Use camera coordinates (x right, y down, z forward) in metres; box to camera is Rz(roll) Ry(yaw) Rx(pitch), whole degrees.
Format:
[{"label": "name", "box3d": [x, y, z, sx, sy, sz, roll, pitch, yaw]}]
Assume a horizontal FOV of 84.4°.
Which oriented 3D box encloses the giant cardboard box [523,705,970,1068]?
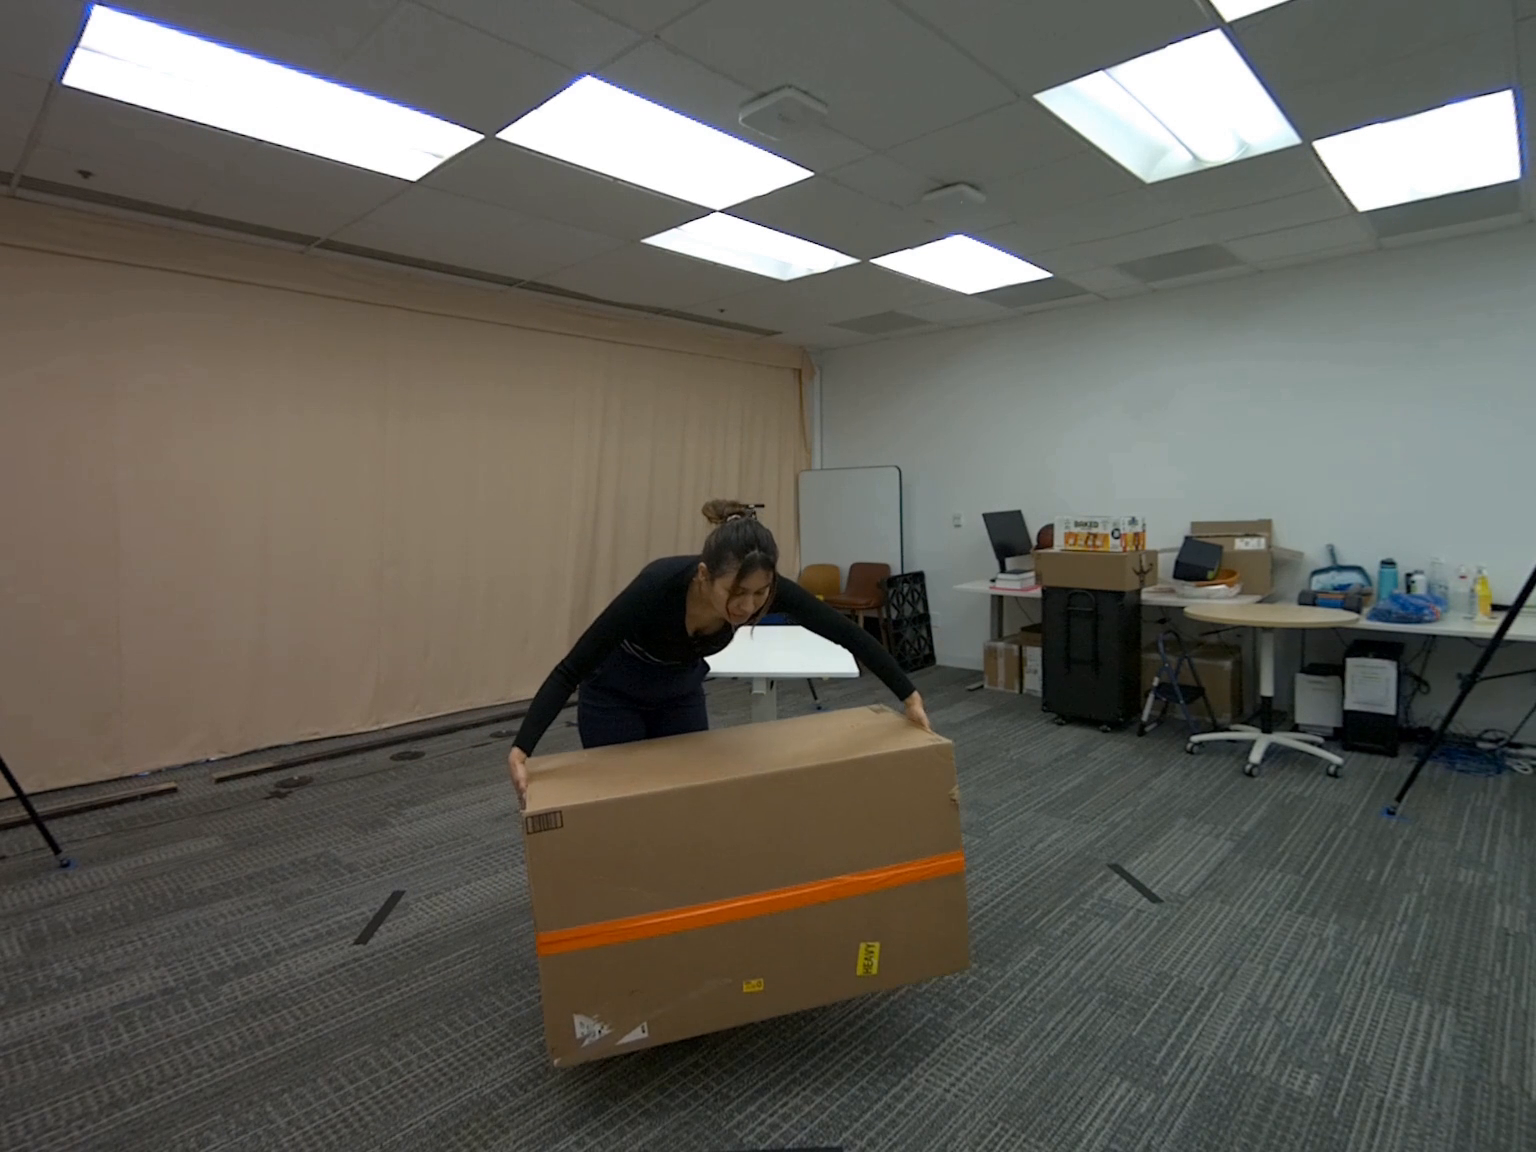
[{"label": "giant cardboard box", "box3d": [-0.067, 0.723, 2.111, 1.012, 0.576, 0.433, -6, 4, -13]}]
